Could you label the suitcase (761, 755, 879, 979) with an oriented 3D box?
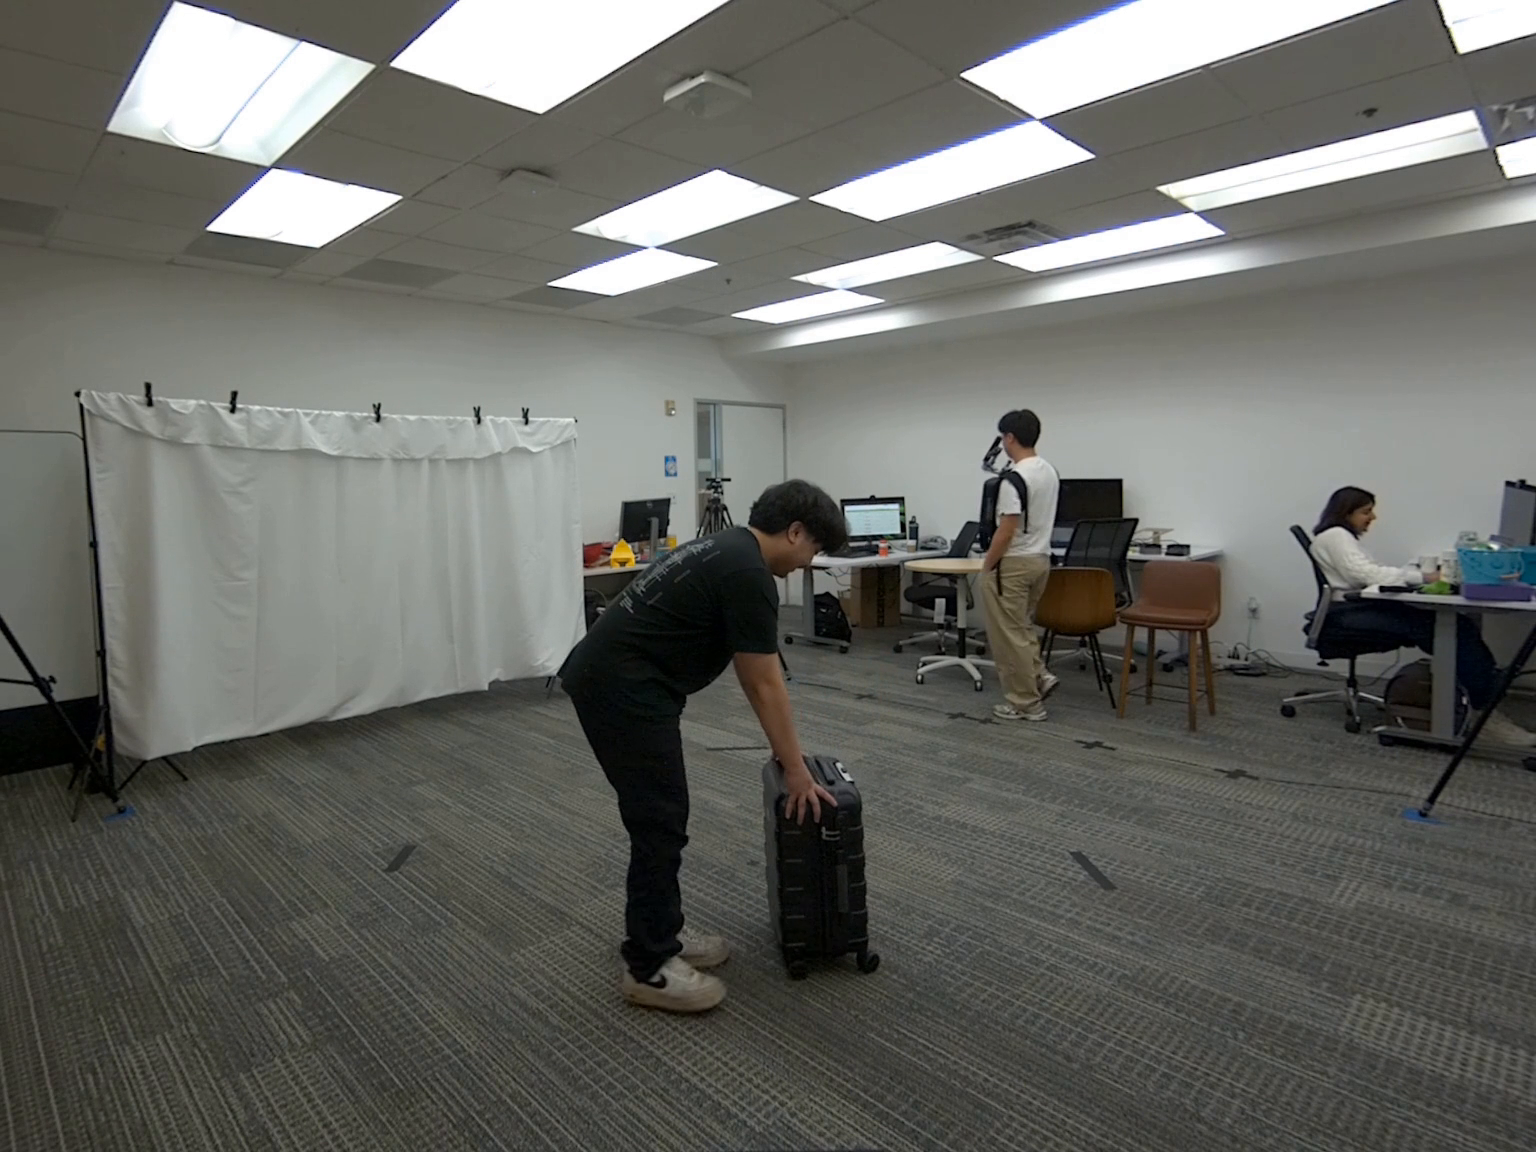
[{"bbox_3d":[0.135,0.836,2.527,0.246,0.547,0.380,-3,5,-9],"label":"suitcase"}]
